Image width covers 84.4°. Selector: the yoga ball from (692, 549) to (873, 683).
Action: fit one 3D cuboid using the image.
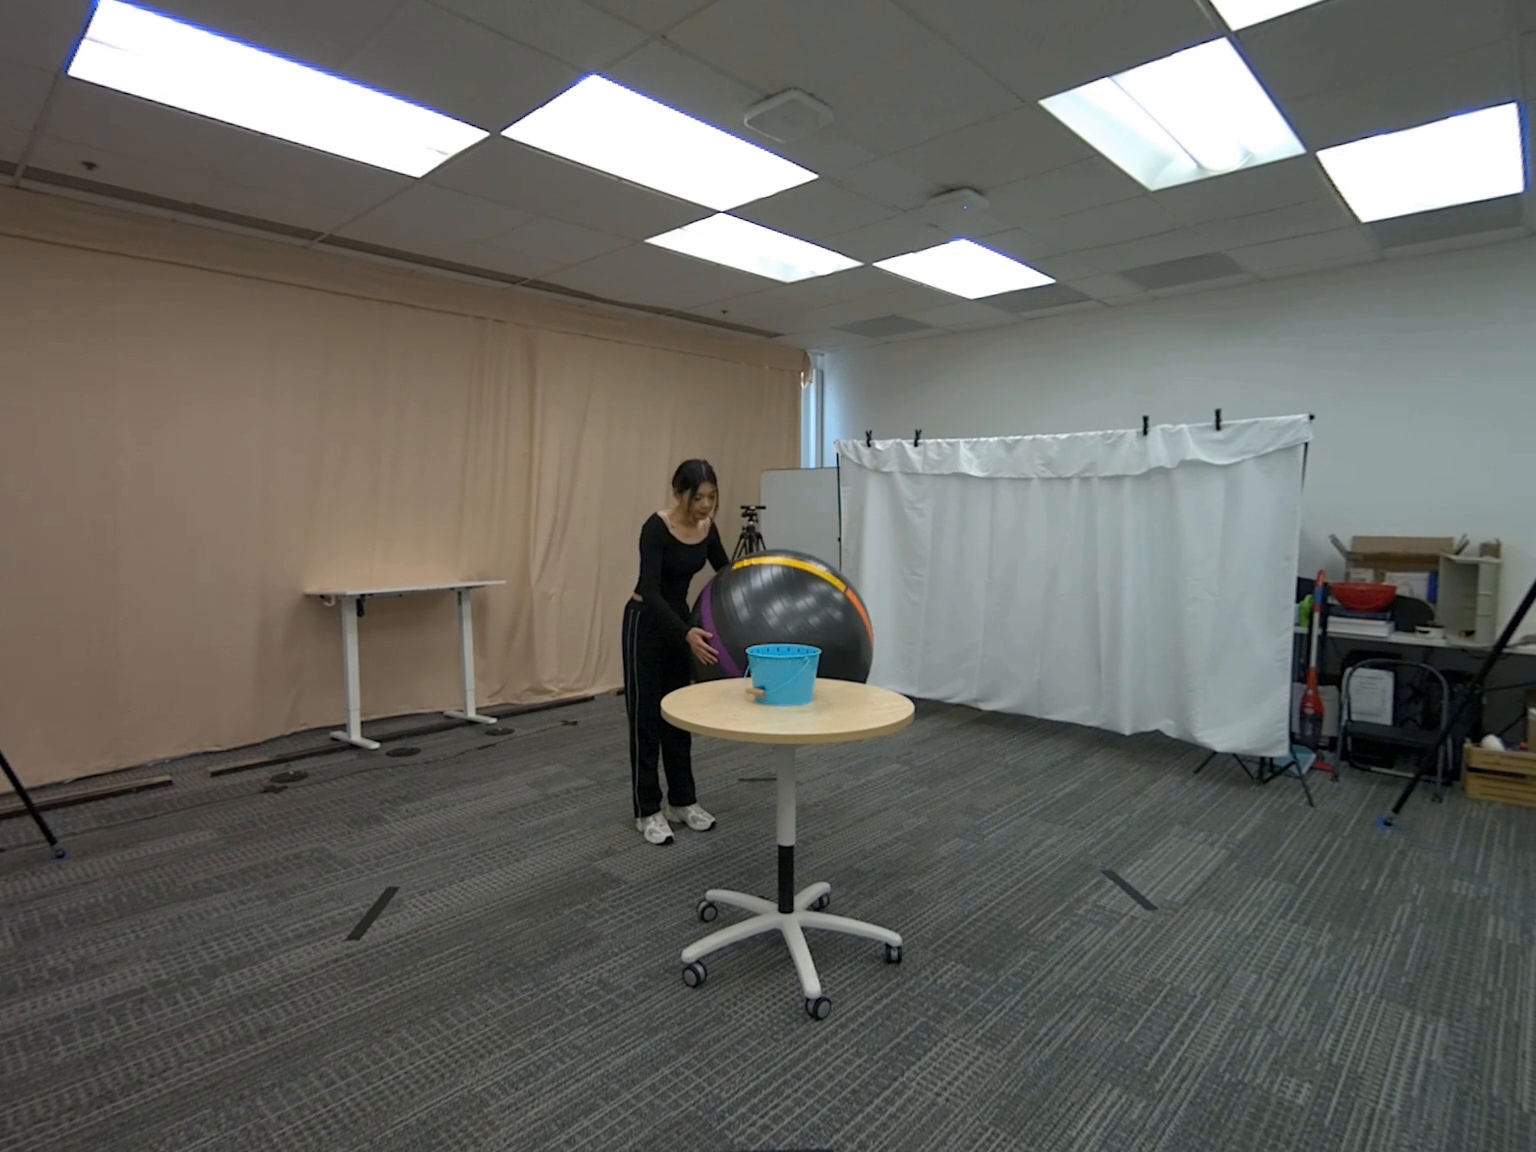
[{"bbox_3d":[0.050,0.276,3.440,0.757,0.756,0.760,0,4,-2],"label":"yoga ball"}]
